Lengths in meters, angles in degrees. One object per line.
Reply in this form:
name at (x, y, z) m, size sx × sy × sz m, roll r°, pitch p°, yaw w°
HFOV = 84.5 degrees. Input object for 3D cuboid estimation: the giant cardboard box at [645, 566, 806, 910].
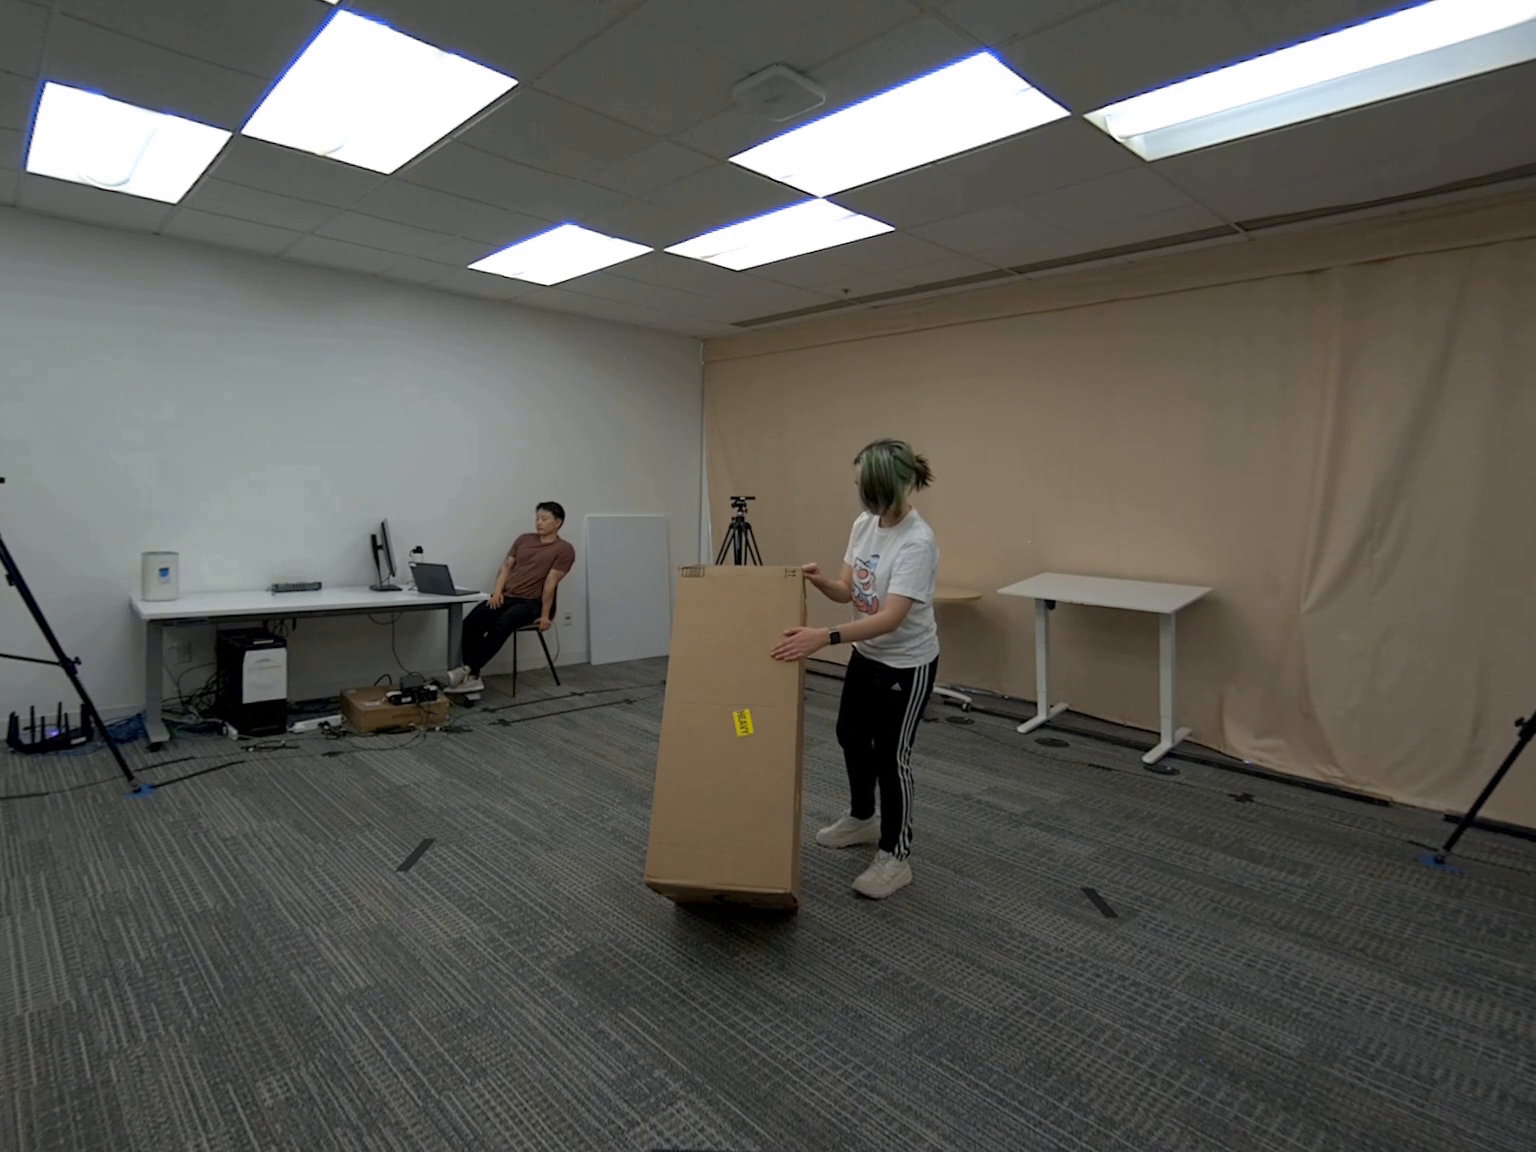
giant cardboard box at (-0.109, 0.556, 2.847) m, size 0.428 × 1.043 × 0.565 m, roll 0°, pitch -28°, yaw 5°
